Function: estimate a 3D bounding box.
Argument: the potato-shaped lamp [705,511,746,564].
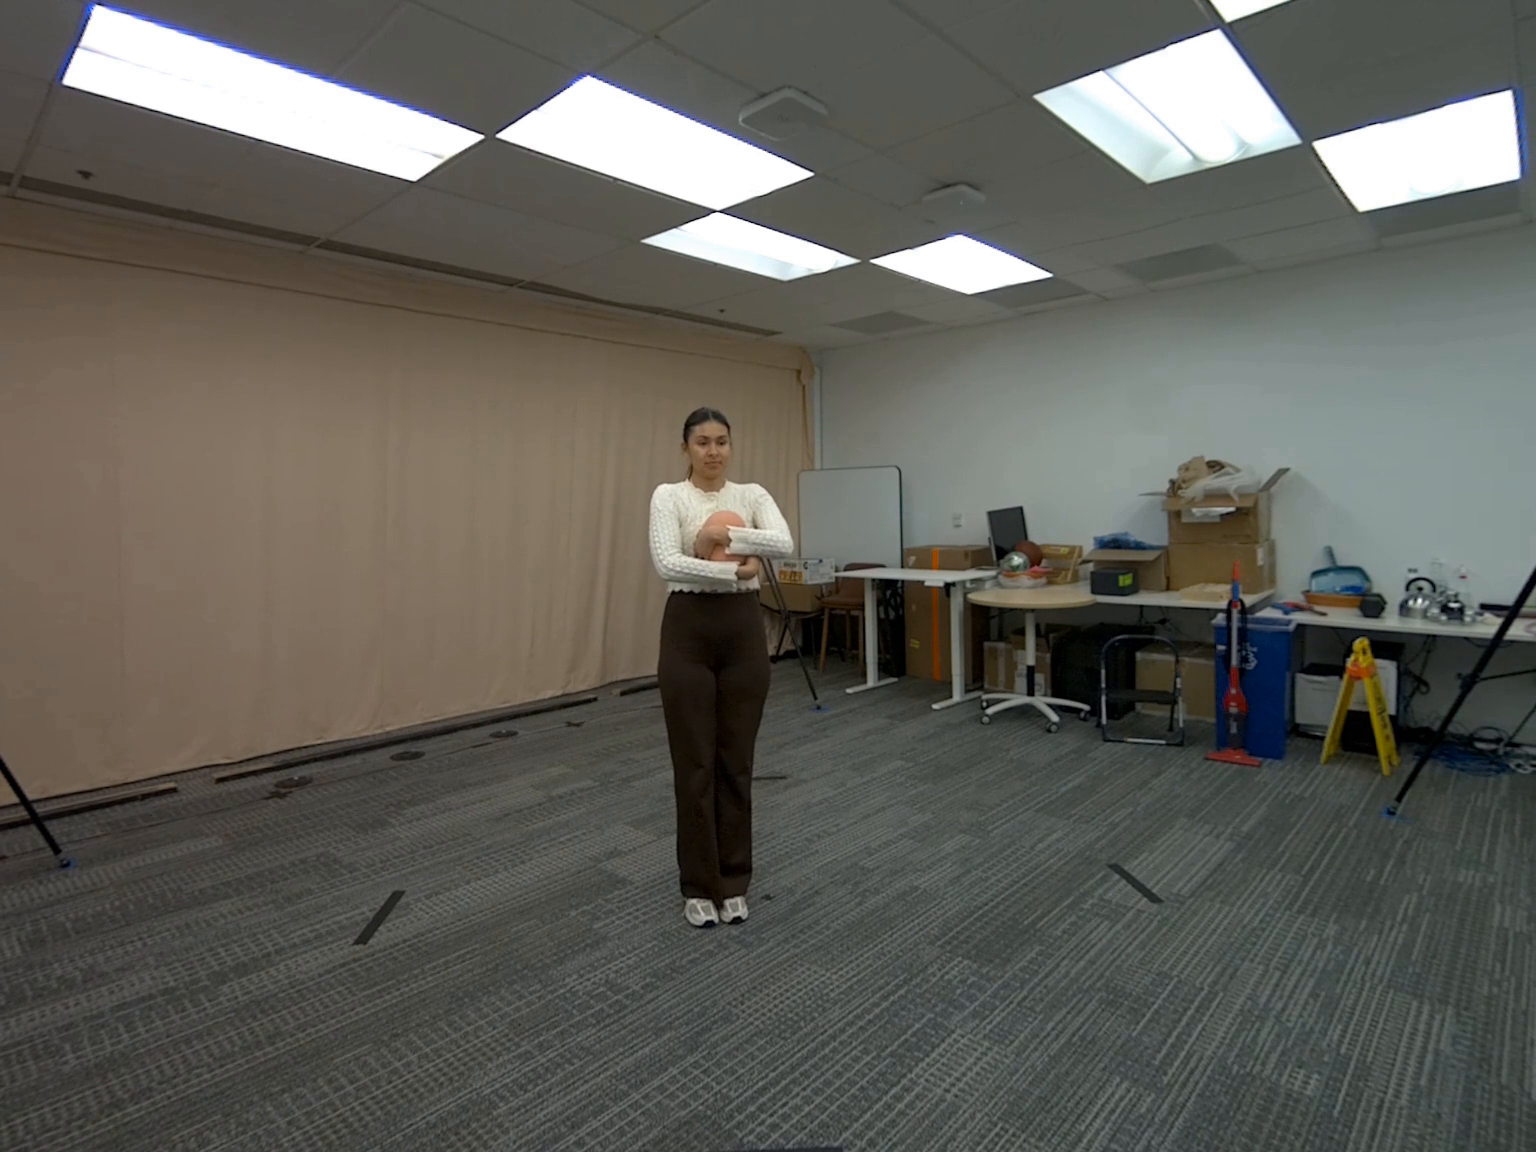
[{"bbox_3d":[-0.150,-0.116,2.765,0.164,0.197,0.172,20,12,-3],"label":"potato-shaped lamp"}]
